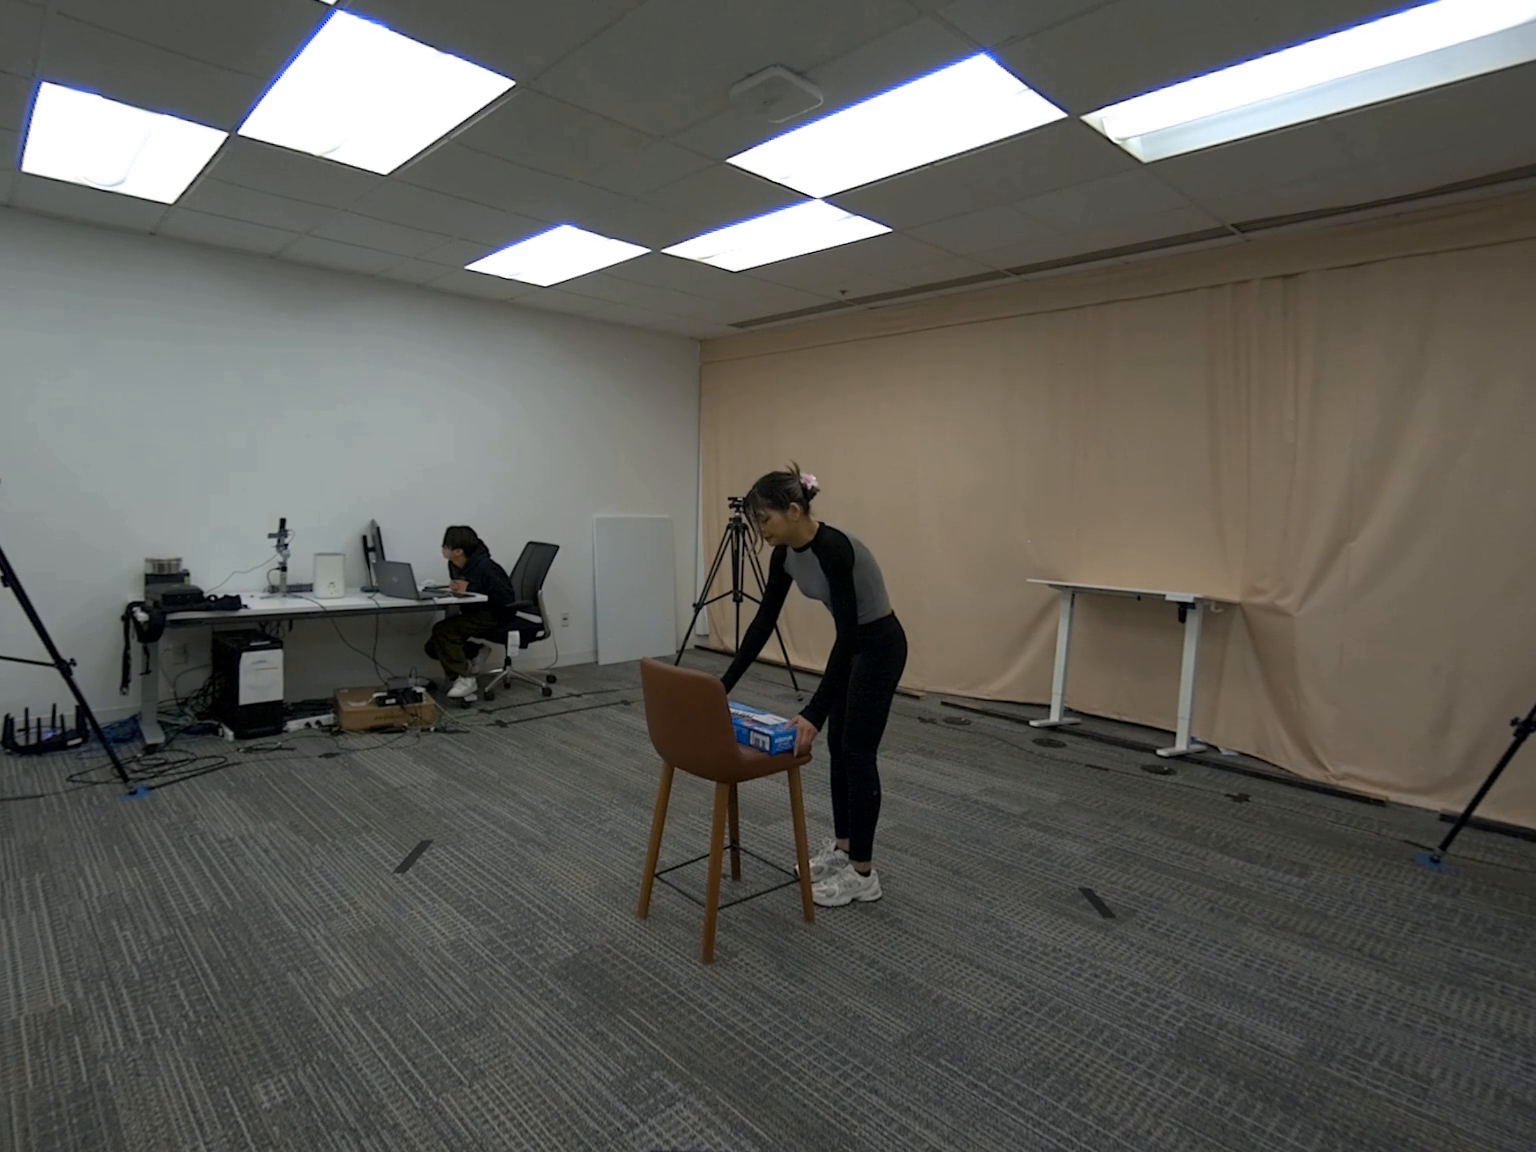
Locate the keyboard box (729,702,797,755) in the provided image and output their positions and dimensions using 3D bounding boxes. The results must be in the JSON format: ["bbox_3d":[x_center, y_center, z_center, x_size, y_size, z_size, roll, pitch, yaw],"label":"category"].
[{"bbox_3d":[-0.073,0.494,2.787,0.172,0.059,0.448,-3,7,-40],"label":"keyboard box"}]
